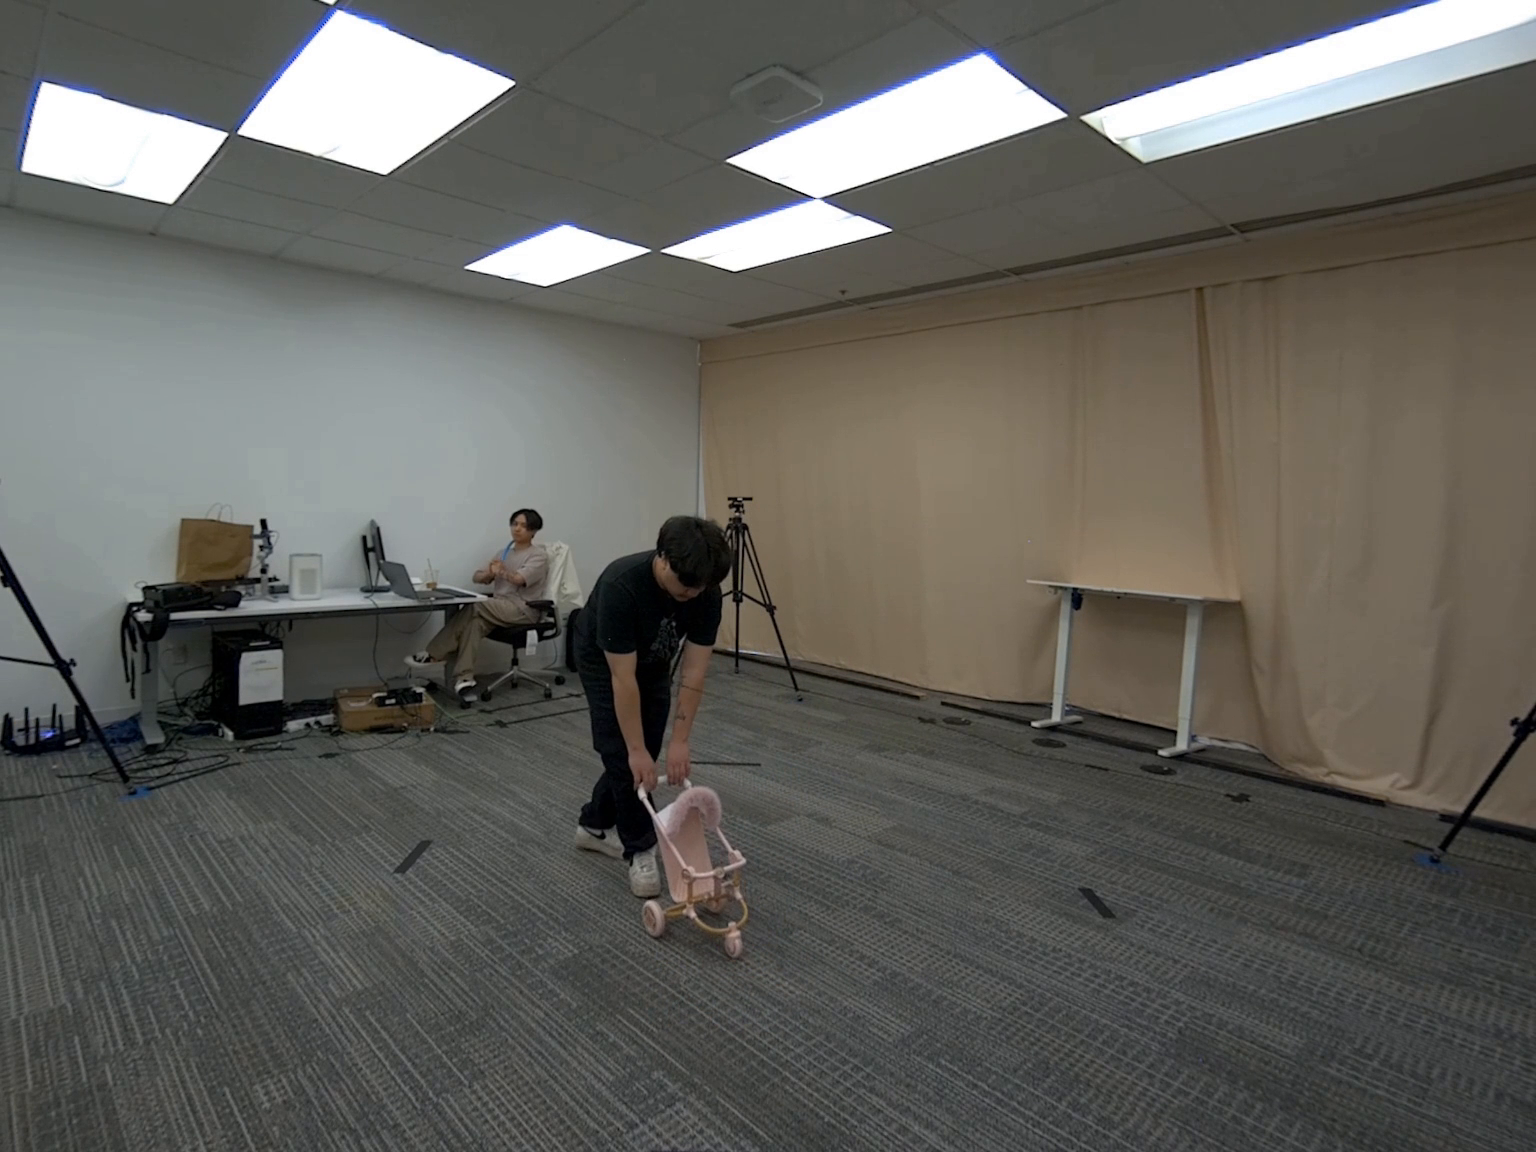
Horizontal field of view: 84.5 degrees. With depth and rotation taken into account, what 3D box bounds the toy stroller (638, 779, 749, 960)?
[{"bbox_3d":[-0.231,0.916,2.684,0.275,0.539,0.346,-2,-10,-38],"label":"toy stroller"}]
